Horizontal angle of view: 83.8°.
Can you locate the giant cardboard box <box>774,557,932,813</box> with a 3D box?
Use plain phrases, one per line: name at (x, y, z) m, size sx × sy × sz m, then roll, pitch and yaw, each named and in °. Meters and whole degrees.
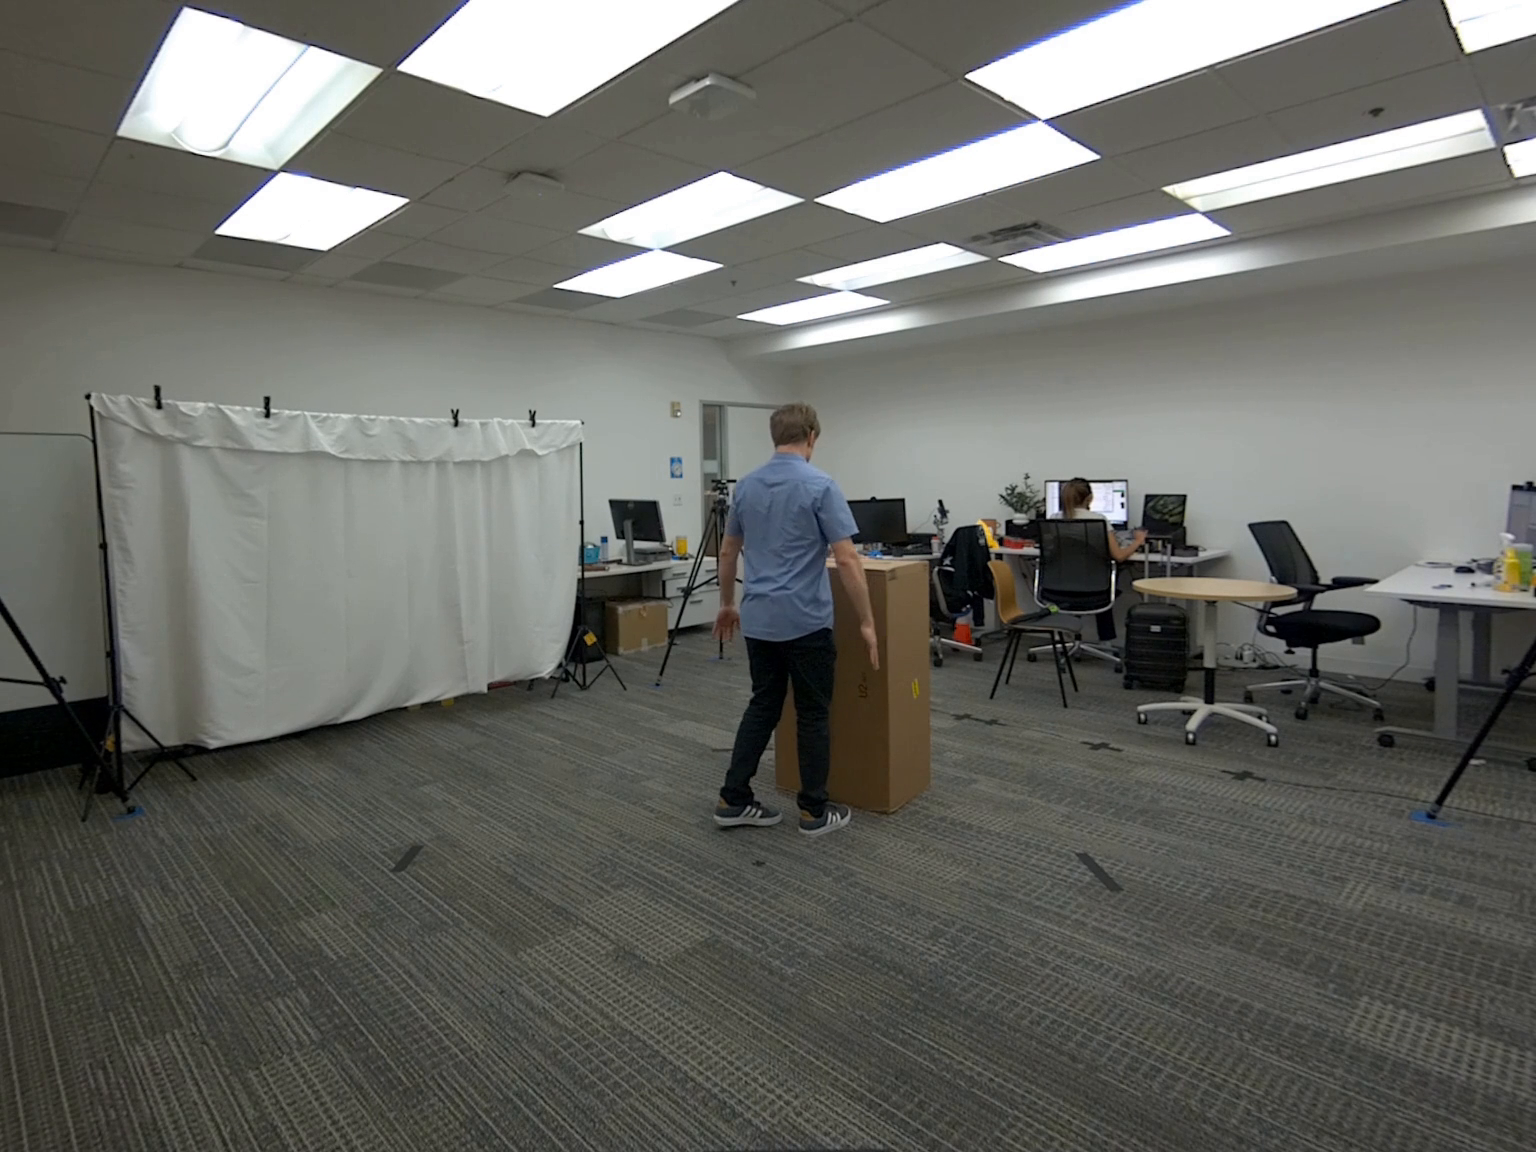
giant cardboard box at (0.376, 0.447, 3.851) m, size 0.594 × 1.023 × 0.415 m, roll 2°, pitch 4°, yaw 37°
